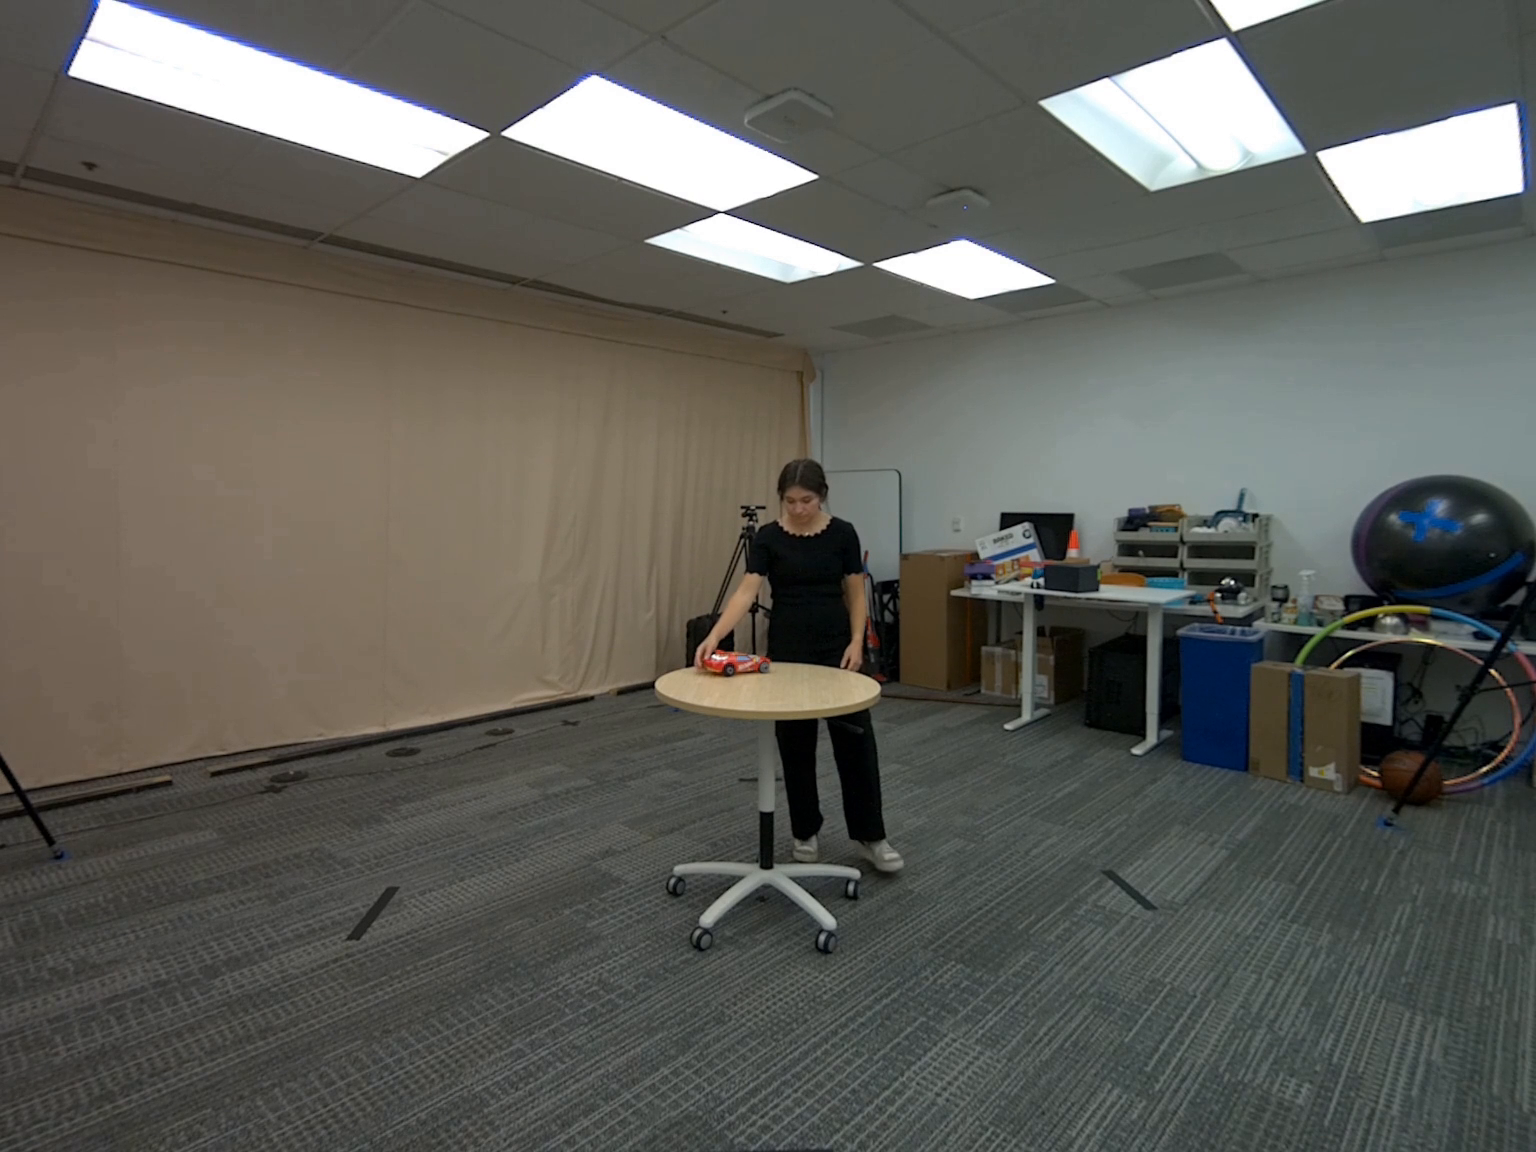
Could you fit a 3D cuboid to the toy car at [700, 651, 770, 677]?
[{"bbox_3d":[-0.120,0.320,3.046,0.248,0.083,0.134,10,-1,-27],"label":"toy car"}]
